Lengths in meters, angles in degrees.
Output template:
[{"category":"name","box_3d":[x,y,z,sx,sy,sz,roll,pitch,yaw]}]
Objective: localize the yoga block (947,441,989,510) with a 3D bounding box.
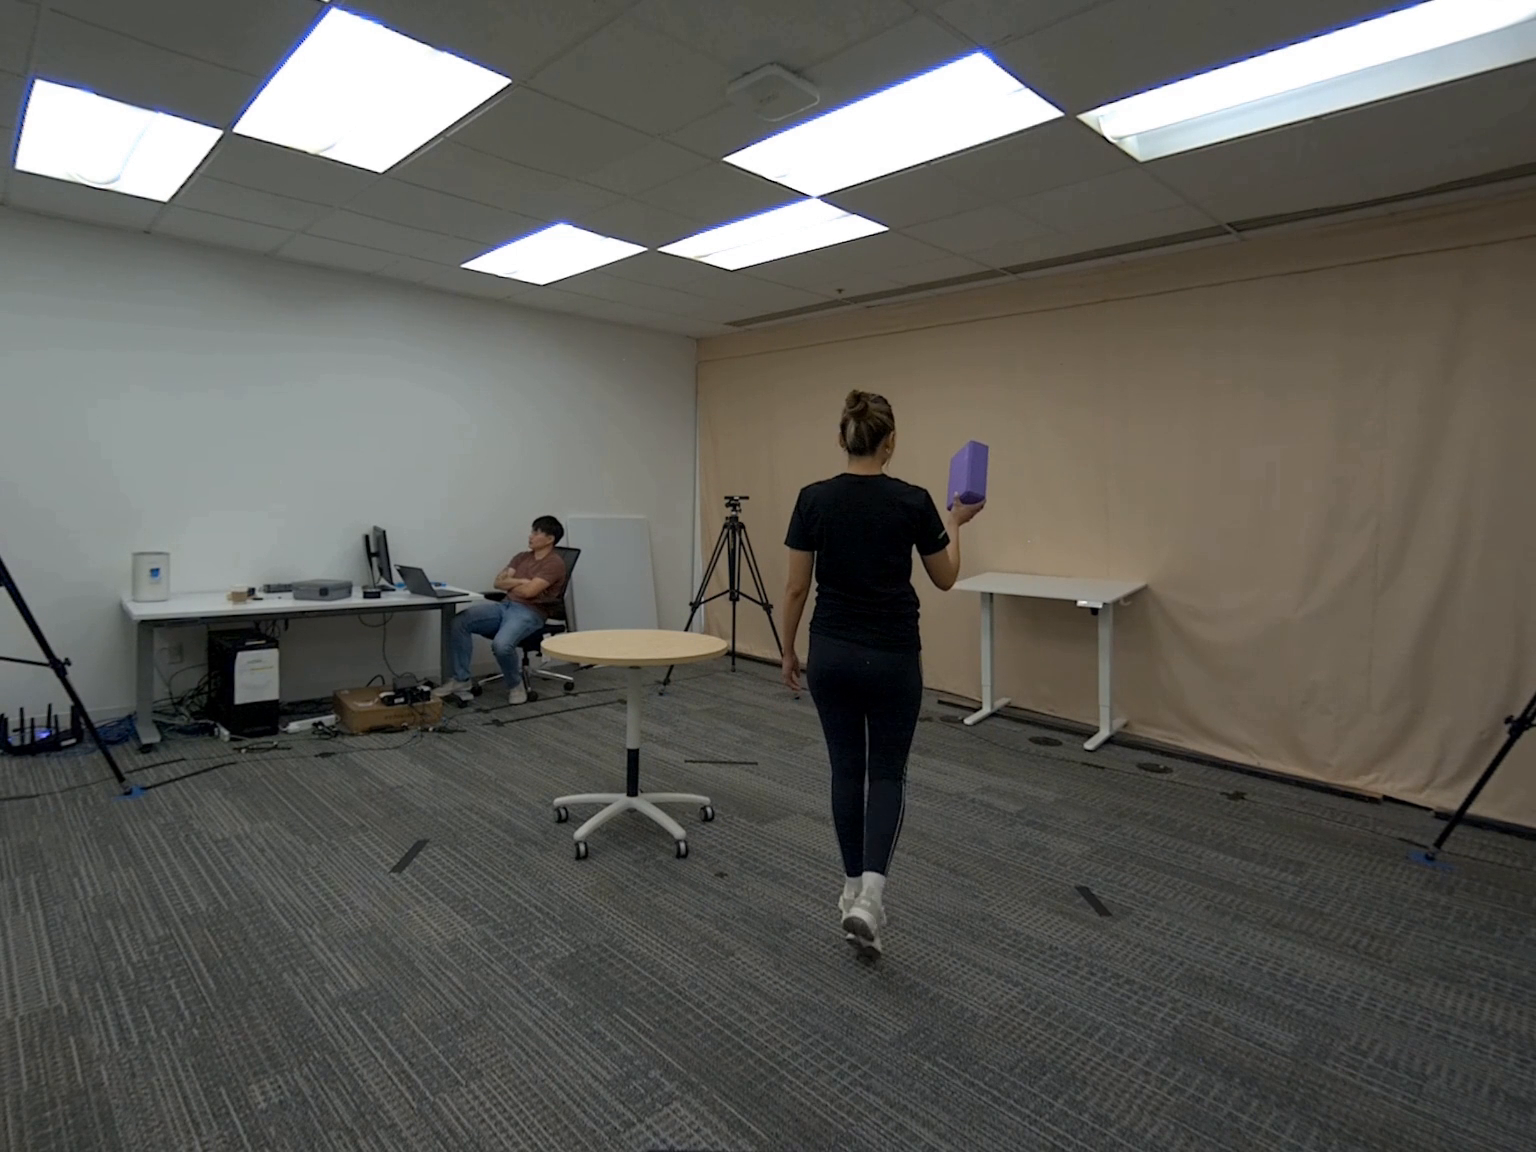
[{"category":"yoga block","box_3d":[0.704,-0.344,2.968,0.076,0.232,0.148,18,-28,-11]}]
